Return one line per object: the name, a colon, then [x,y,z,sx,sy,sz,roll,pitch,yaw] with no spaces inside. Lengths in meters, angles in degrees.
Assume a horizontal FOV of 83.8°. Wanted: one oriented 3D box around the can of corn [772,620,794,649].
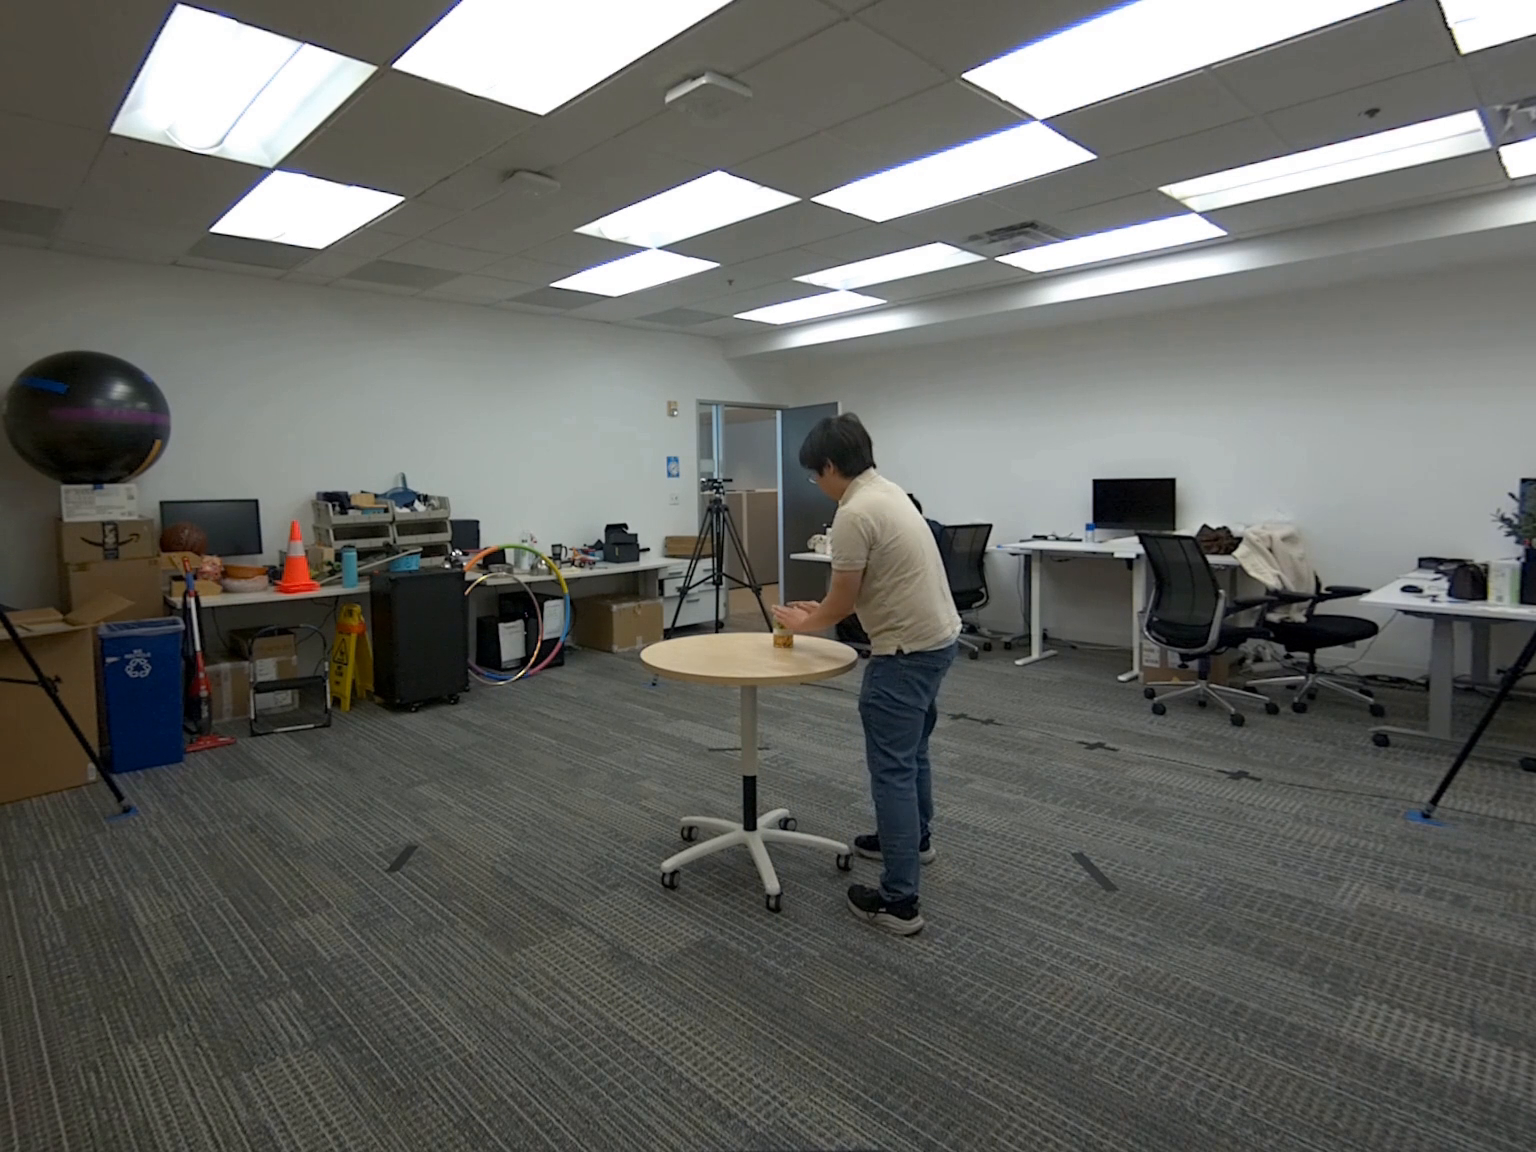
can of corn: [0.061,0.204,3.134,0.074,0.110,0.074,2,5,-2]
